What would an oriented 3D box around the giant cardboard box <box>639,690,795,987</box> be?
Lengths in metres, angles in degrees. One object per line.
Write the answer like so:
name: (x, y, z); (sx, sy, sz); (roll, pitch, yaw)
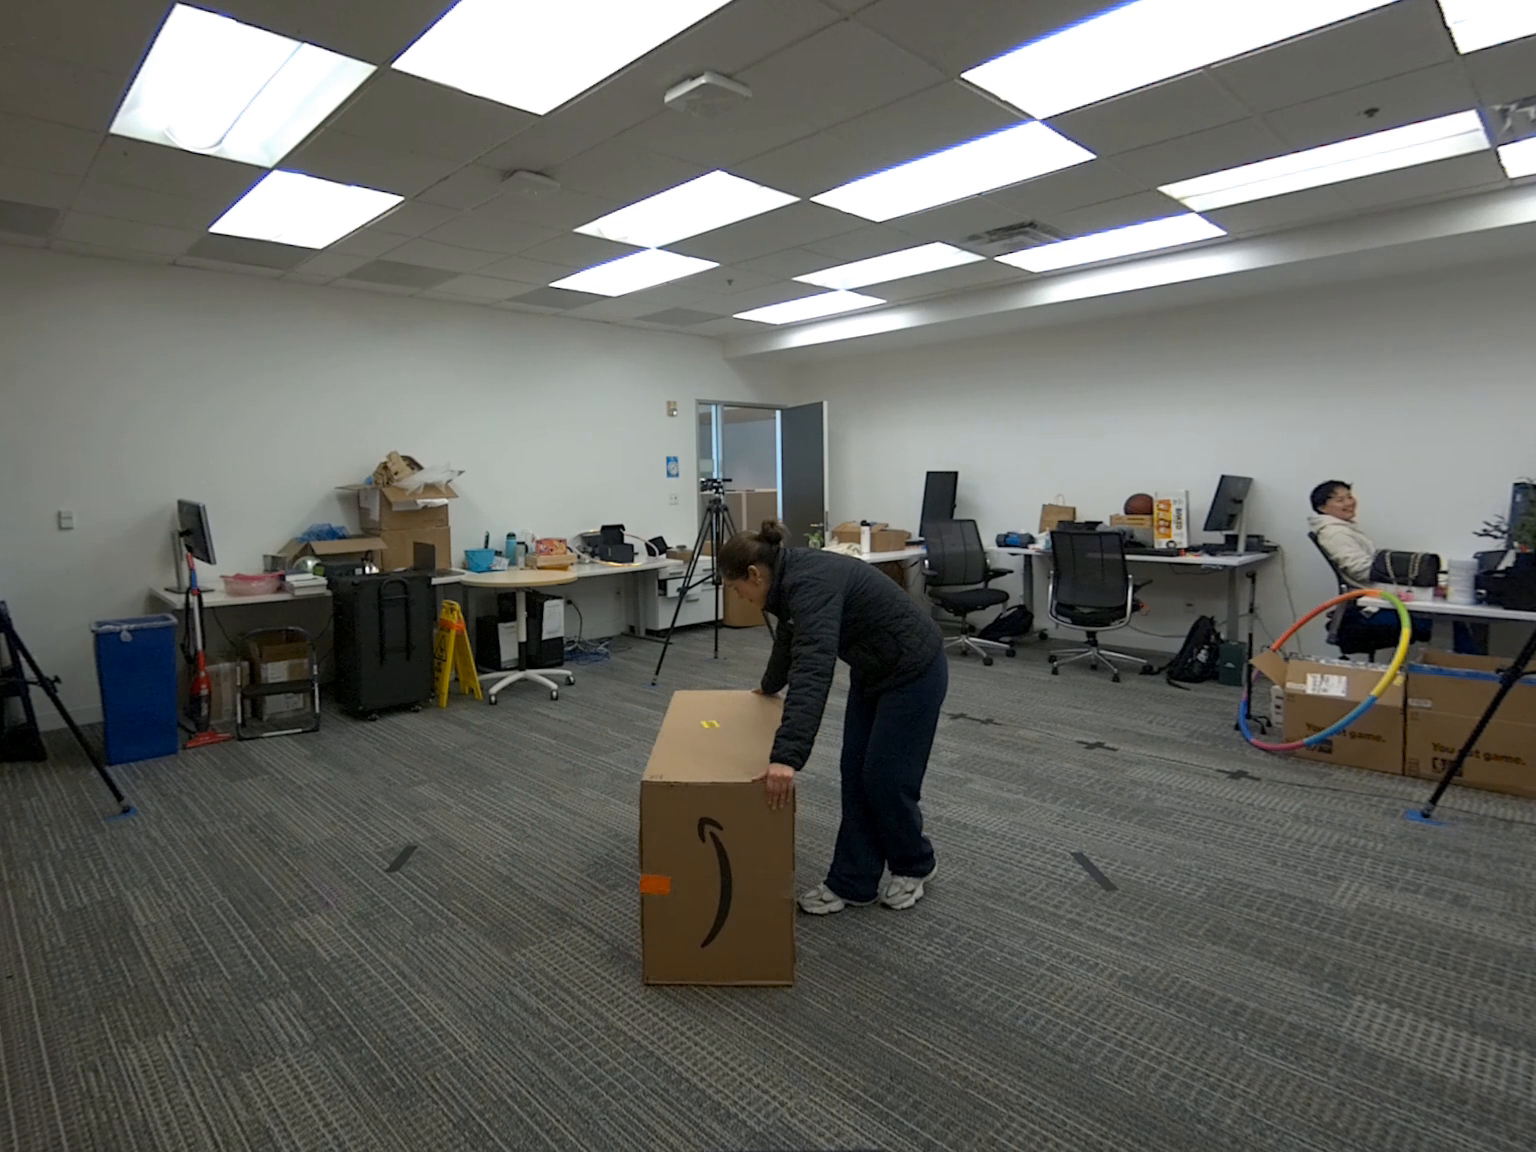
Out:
giant cardboard box: (-0.152, 0.788, 2.862); (0.447, 0.582, 1.031); (-1, 5, -1)
